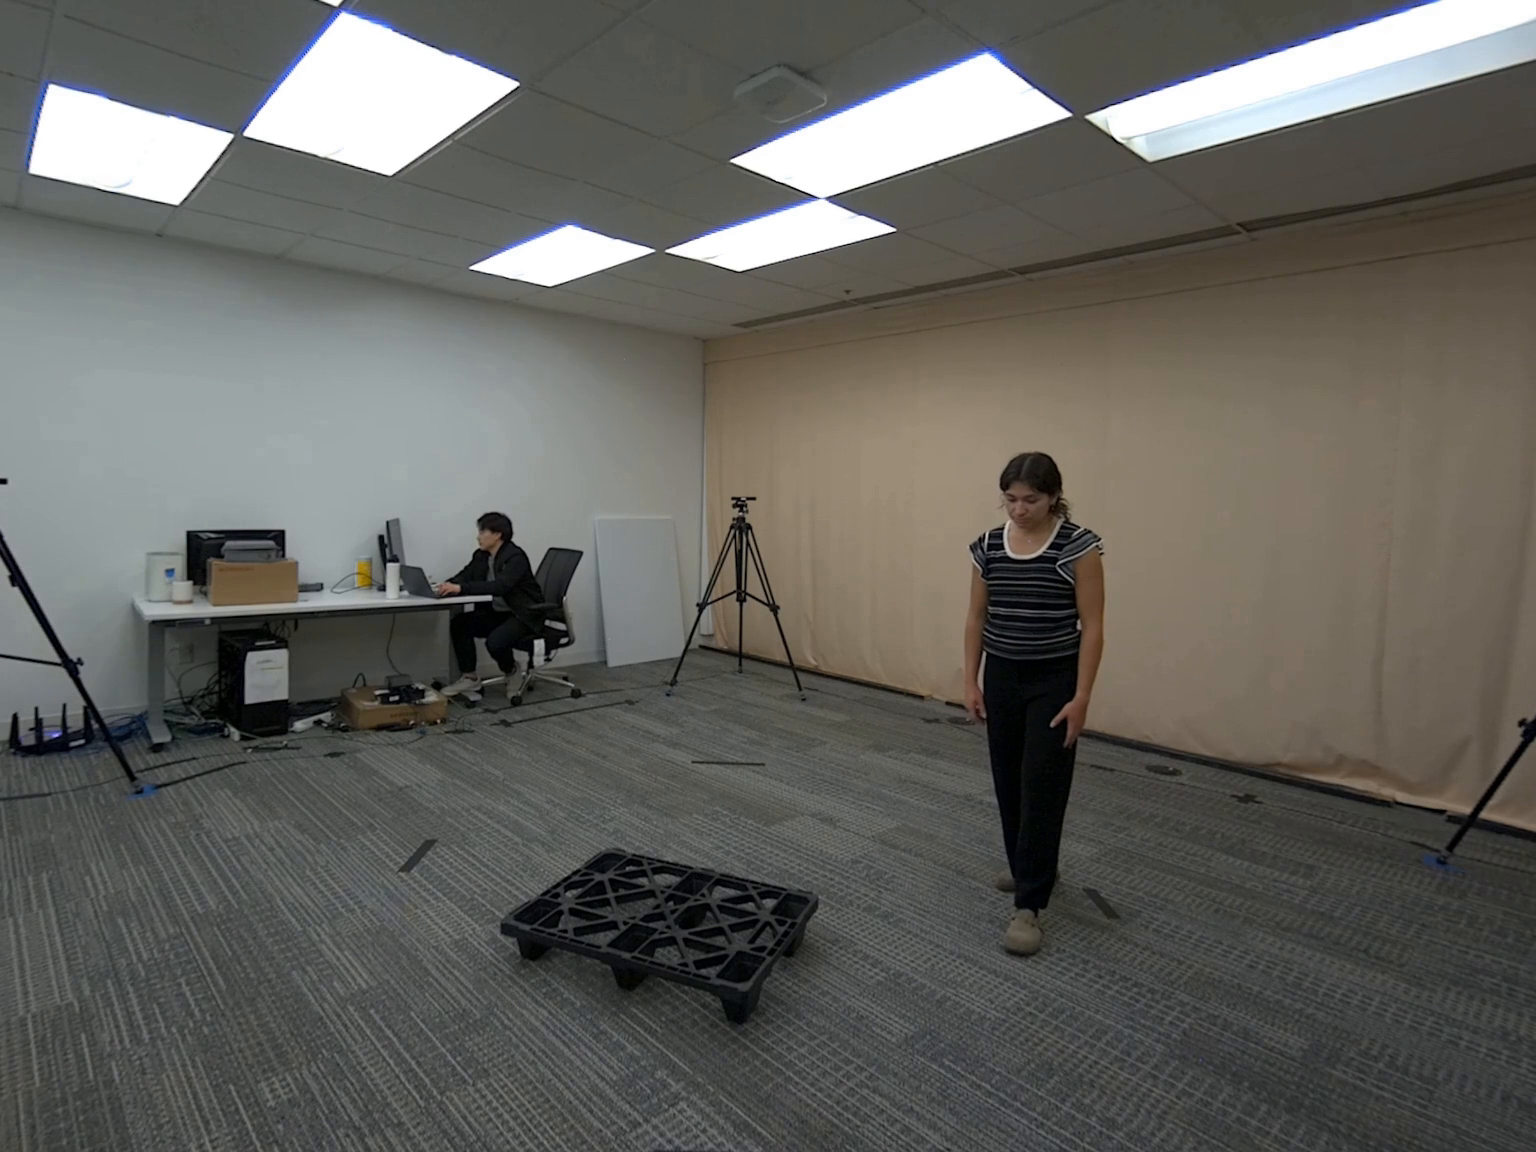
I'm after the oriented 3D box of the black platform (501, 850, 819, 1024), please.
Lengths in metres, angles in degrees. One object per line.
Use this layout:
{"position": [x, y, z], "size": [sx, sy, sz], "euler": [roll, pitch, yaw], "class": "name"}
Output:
{"position": [-0.322, 1.081, 2.585], "size": [0.820, 0.143, 0.596], "euler": [4, 6, 23], "class": "black platform"}
